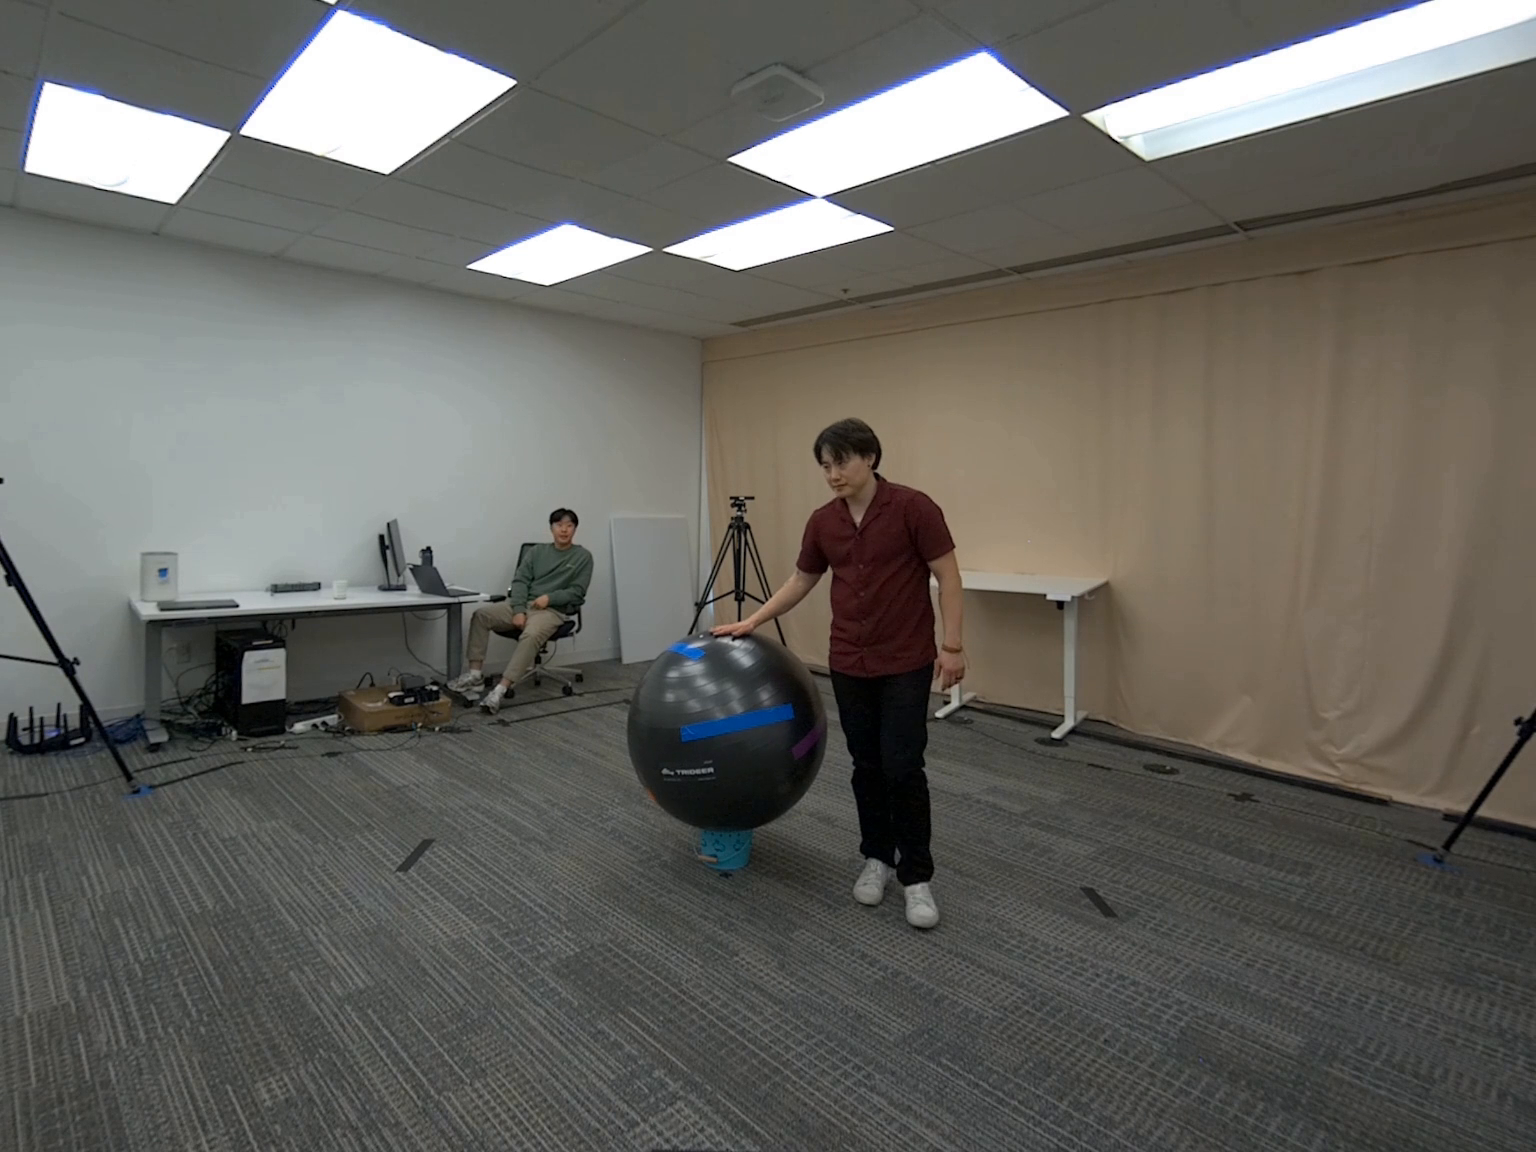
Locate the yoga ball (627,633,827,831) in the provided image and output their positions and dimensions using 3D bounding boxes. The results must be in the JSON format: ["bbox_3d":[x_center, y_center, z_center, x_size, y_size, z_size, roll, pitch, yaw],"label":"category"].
[{"bbox_3d":[-0.169,0.585,3.212,0.757,0.756,0.761,1,4,-1],"label":"yoga ball"}]
